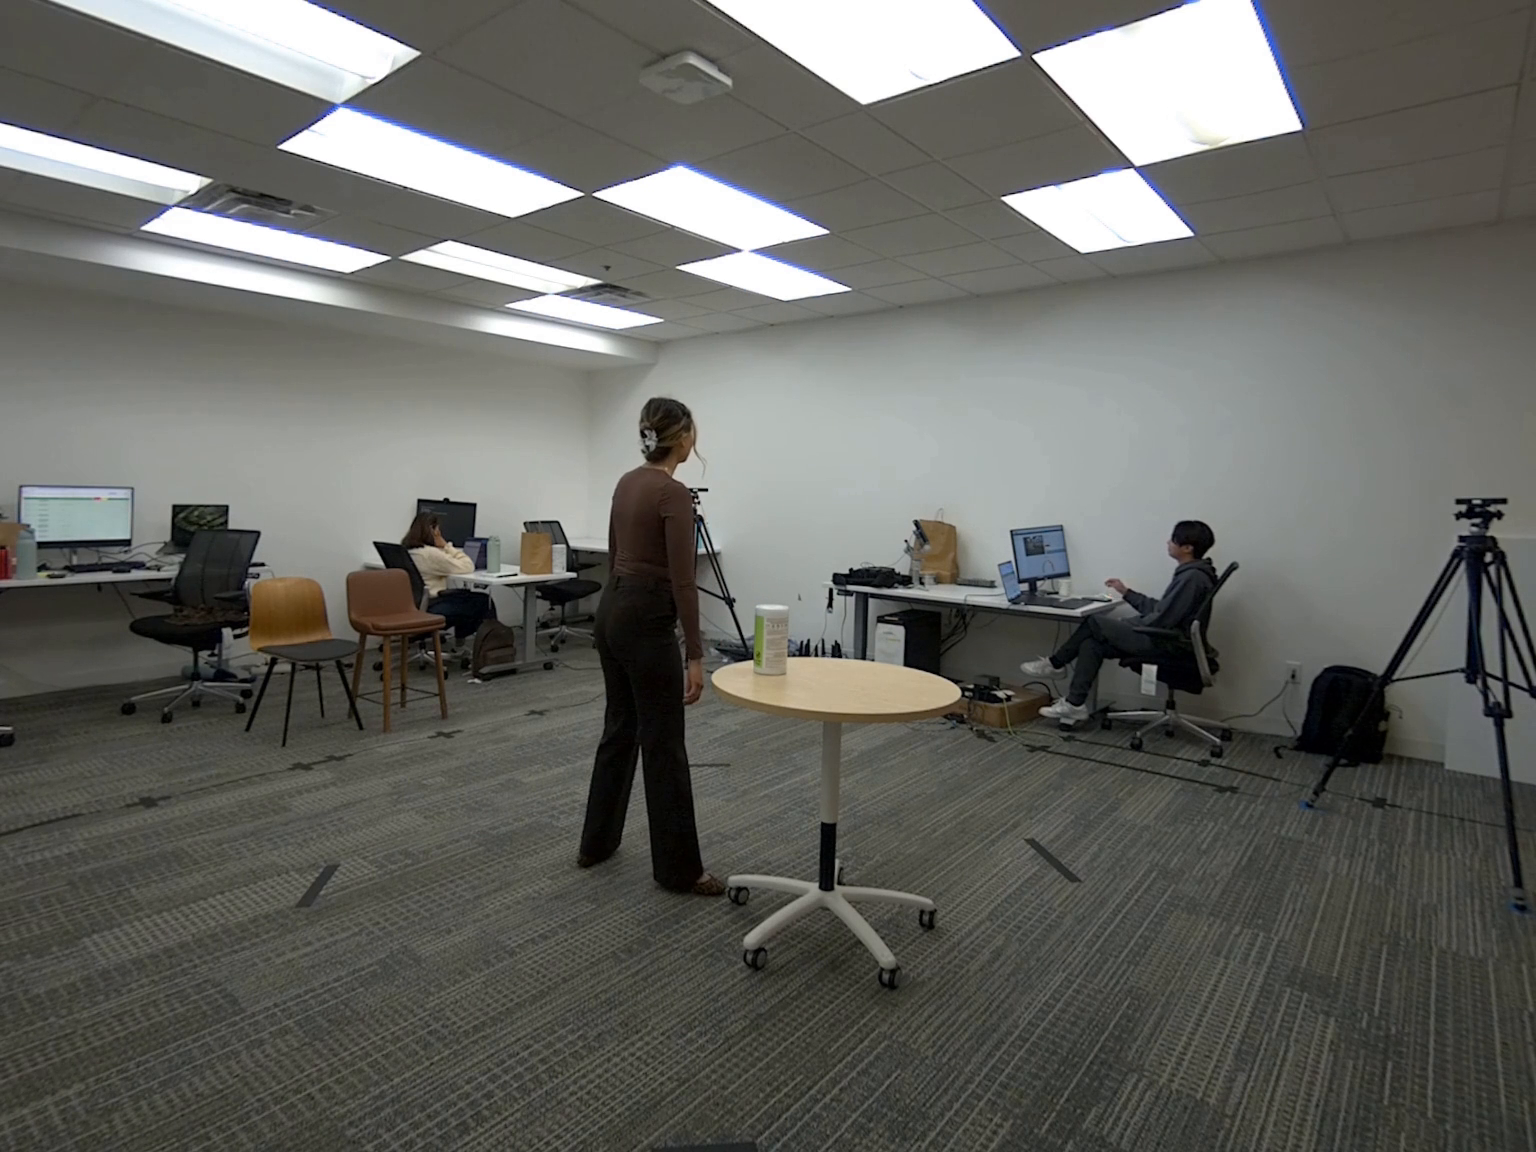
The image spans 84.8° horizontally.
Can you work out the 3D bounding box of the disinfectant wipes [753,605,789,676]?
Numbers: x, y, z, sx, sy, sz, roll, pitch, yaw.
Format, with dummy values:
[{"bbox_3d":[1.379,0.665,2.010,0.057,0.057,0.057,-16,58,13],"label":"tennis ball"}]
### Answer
[{"bbox_3d":[0.004,0.204,2.752,0.118,0.217,0.118,1,2,-2],"label":"disinfectant wipes"}]
